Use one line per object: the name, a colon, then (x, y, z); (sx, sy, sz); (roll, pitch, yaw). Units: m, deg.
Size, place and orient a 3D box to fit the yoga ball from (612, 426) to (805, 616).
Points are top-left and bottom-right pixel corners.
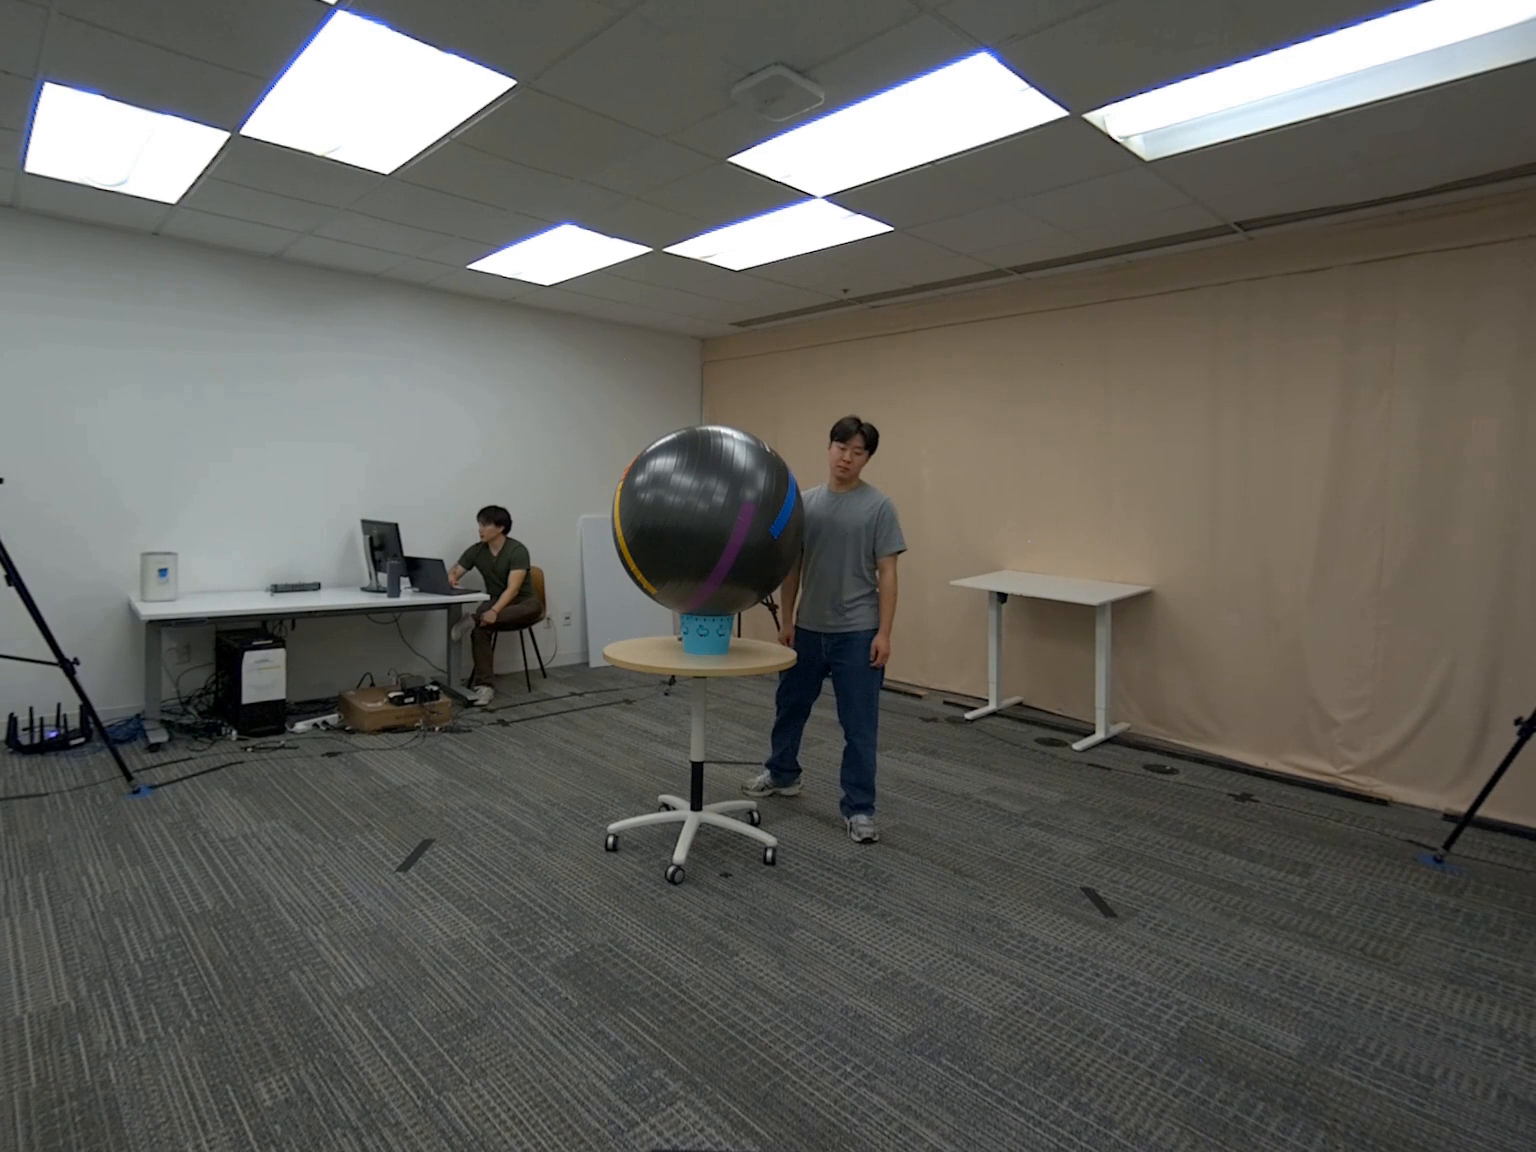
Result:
yoga ball: (-0.241, -0.215, 3.329); (0.757, 0.756, 0.761); (1, 4, -1)
